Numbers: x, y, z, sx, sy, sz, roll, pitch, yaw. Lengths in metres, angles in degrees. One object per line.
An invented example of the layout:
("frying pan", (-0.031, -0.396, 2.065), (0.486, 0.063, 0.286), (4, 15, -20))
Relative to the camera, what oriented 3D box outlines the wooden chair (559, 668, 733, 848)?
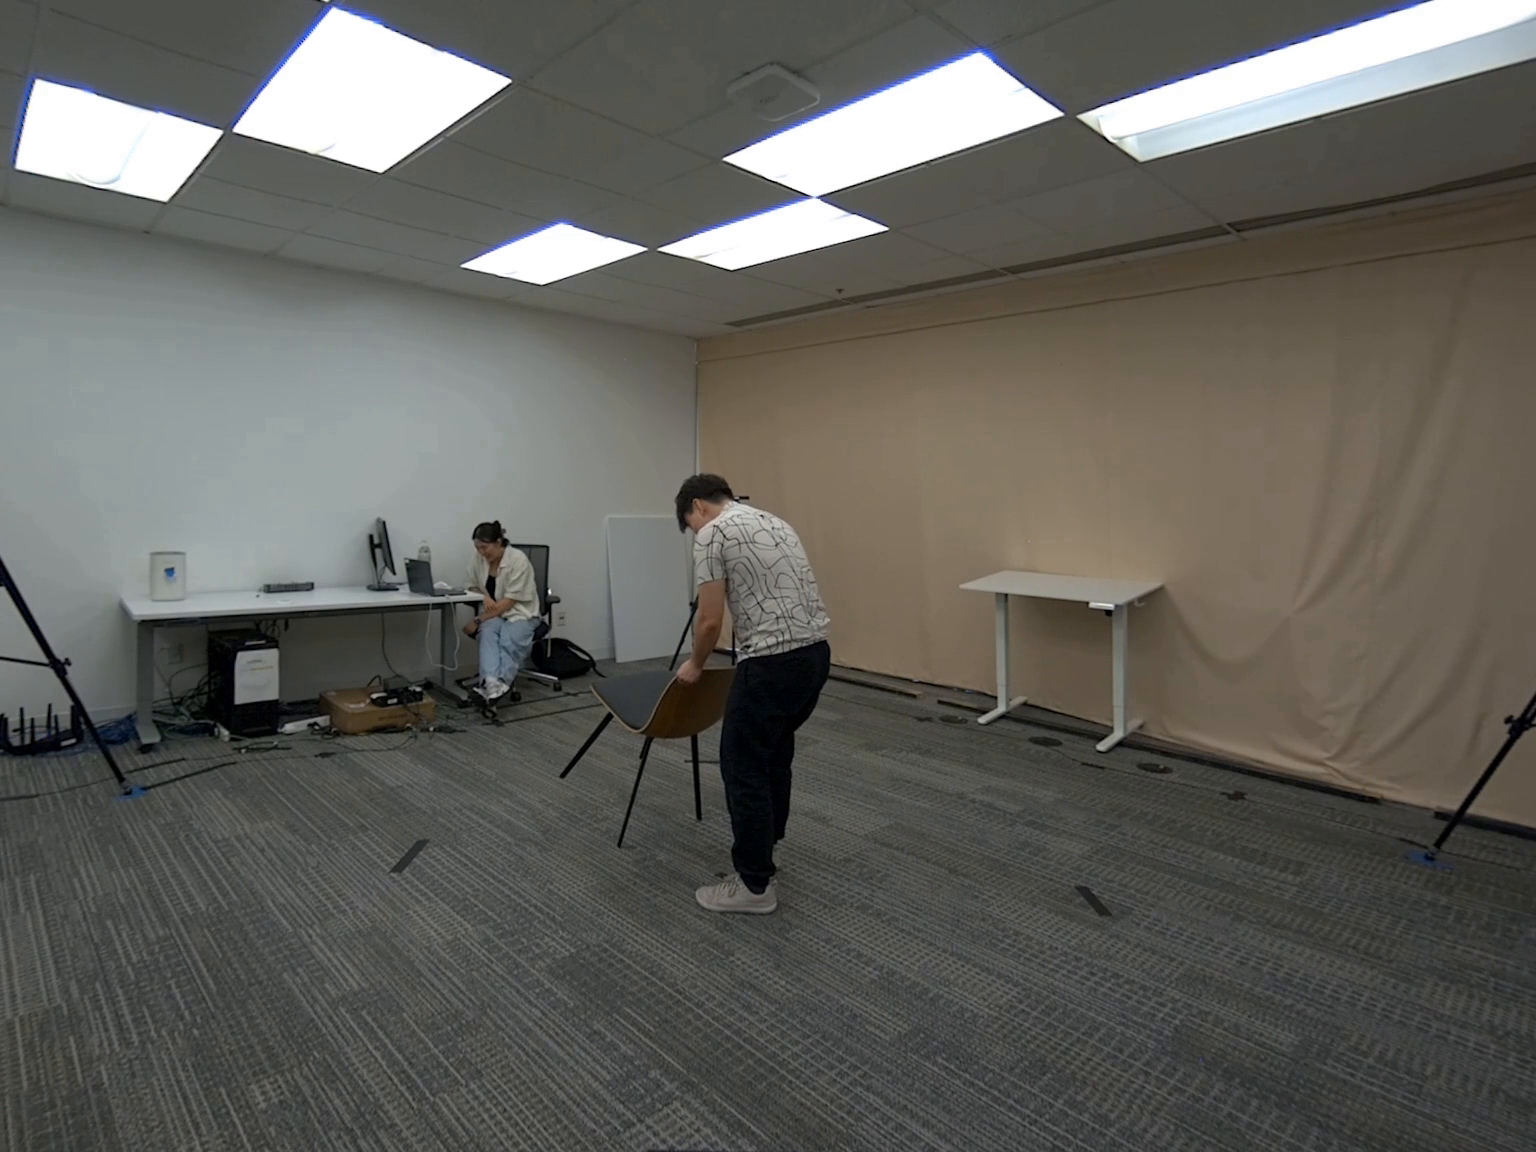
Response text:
("wooden chair", (-0.465, 0.575, 3.481), (0.467, 0.870, 0.539), (-2, 33, -46))
